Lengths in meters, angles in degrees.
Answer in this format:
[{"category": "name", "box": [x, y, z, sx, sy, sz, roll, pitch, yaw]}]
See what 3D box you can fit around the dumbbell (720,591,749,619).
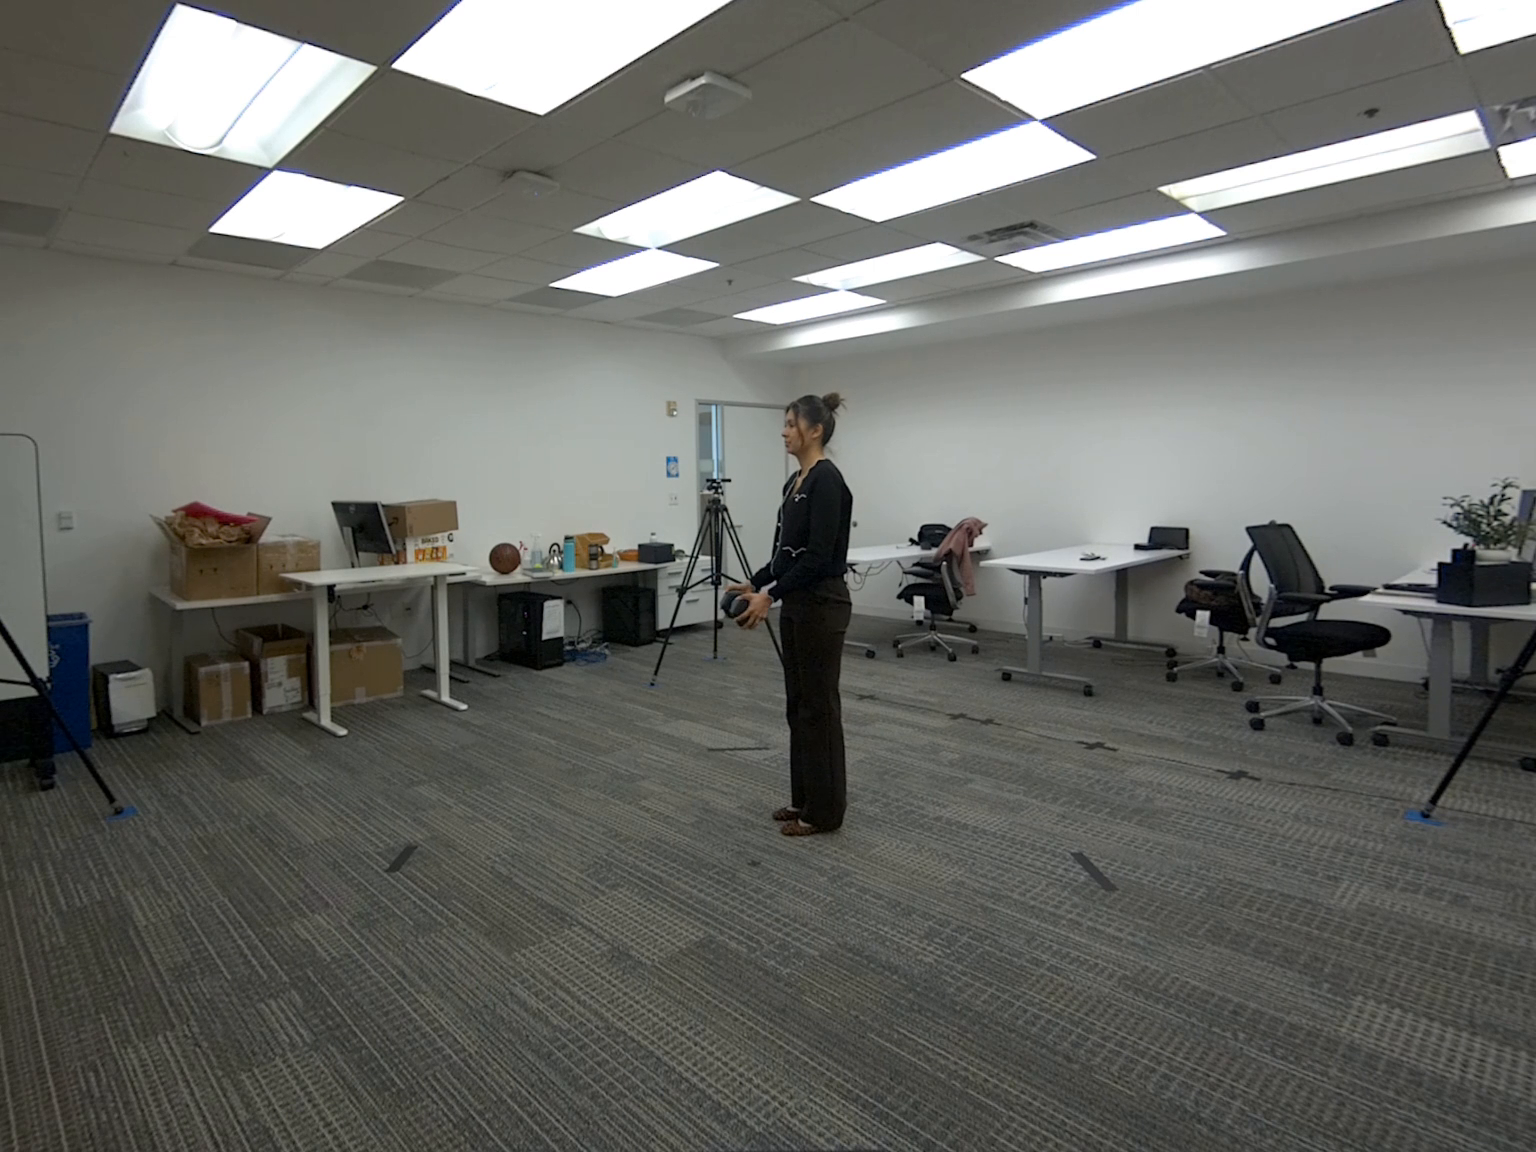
[{"category": "dumbbell", "box": [-0.112, 0.116, 3.401, 0.108, 0.123, 0.296, 27, 1, -9]}]
